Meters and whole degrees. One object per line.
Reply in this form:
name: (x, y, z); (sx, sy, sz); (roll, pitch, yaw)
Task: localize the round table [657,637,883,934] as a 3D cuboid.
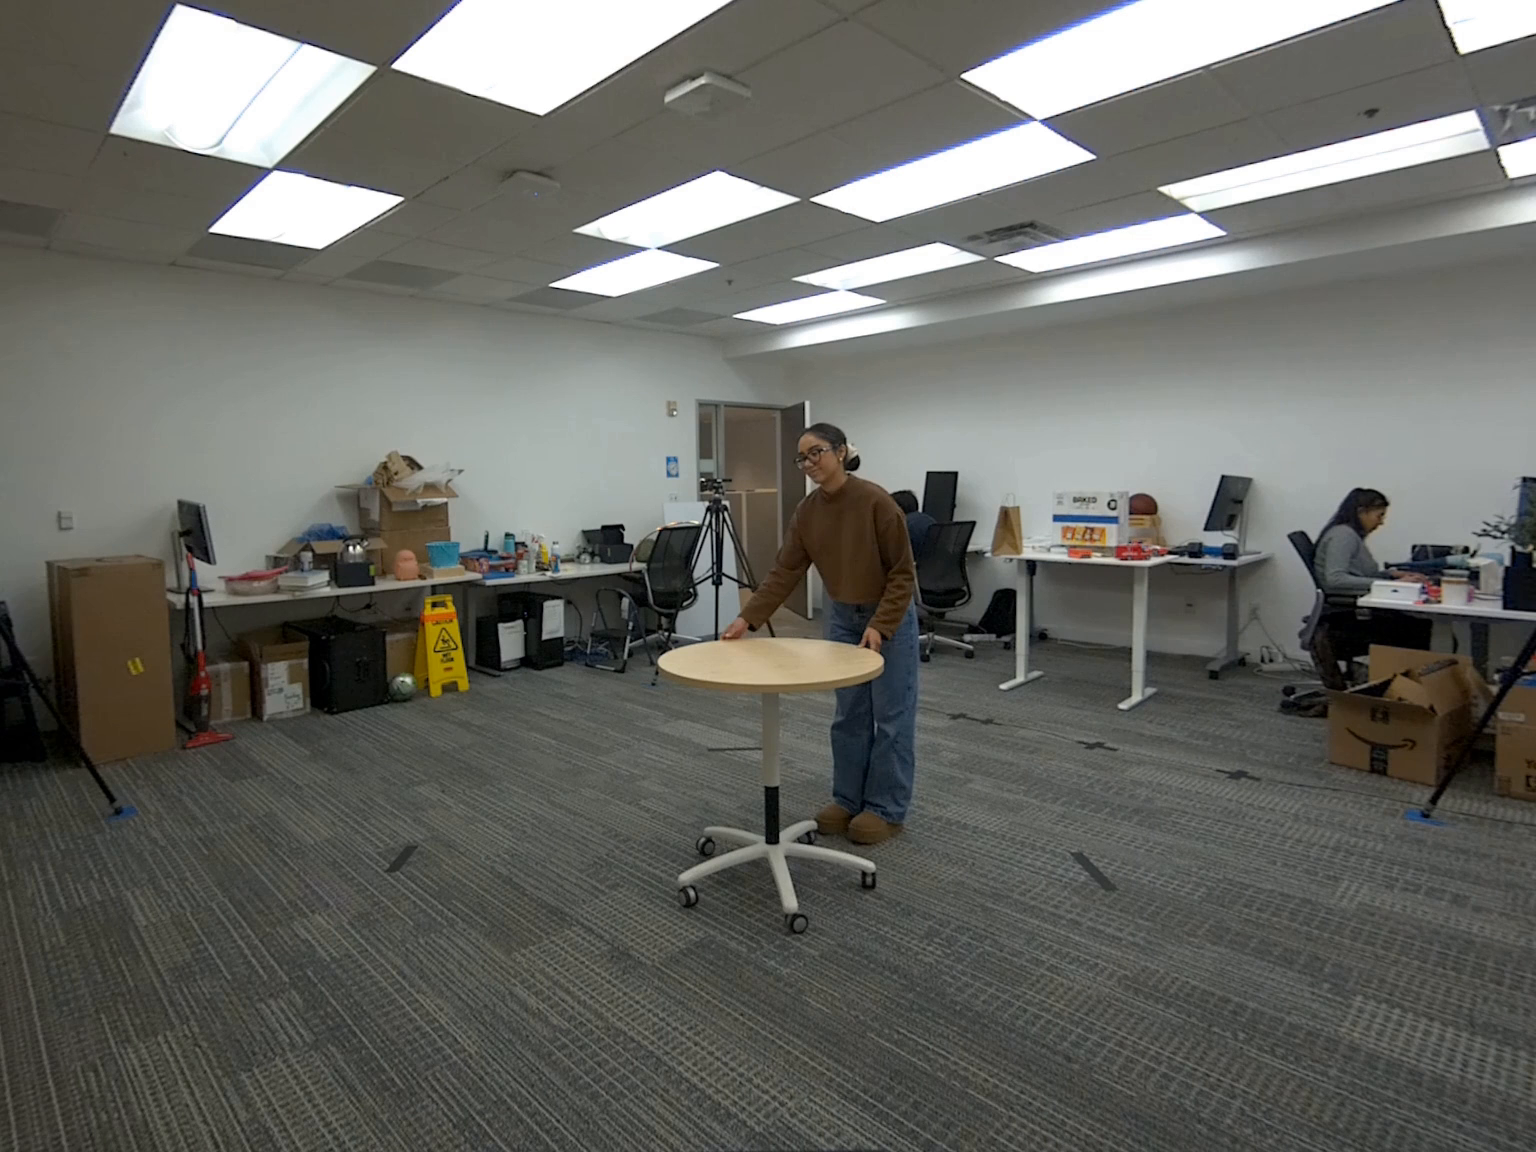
round table: (0.014, 0.674, 2.936); (0.763, 0.791, 0.768); (-1, 5, -2)
